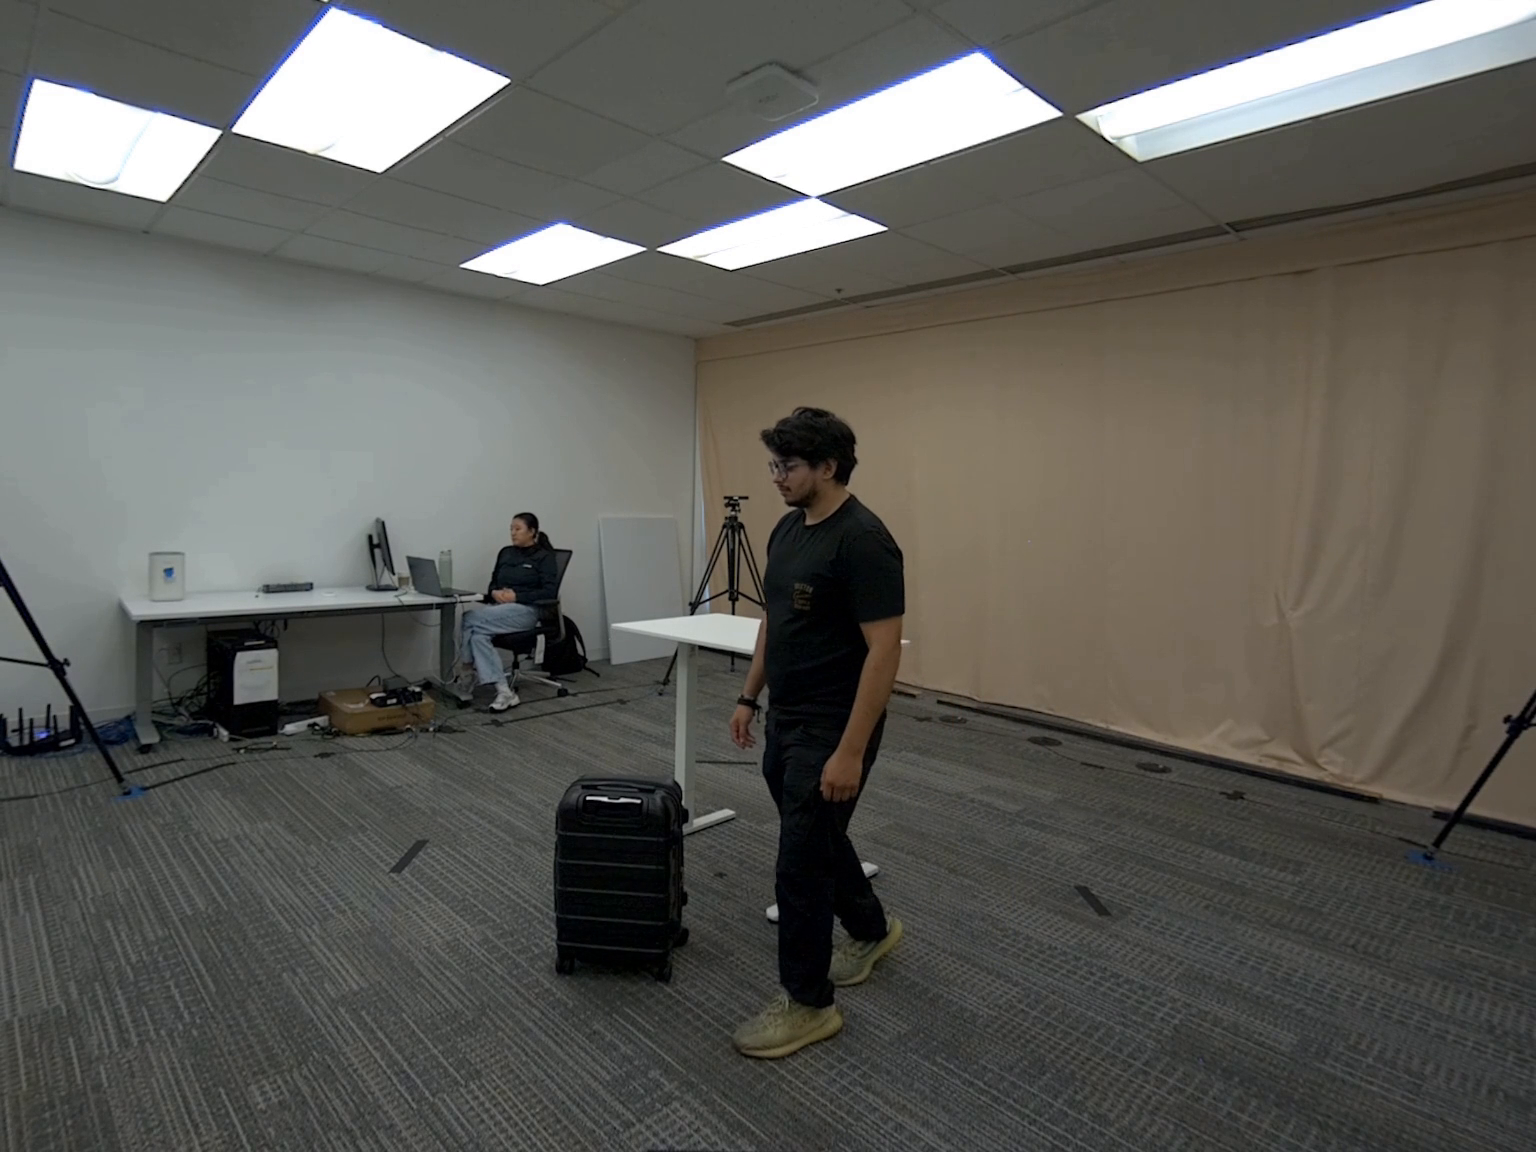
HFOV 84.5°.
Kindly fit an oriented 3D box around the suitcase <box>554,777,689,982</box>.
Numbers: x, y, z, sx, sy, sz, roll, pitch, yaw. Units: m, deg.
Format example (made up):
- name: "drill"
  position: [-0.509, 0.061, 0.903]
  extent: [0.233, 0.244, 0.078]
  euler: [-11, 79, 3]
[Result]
- name: "suitcase"
  position: [-0.445, 0.881, 2.501]
  extent: [0.377, 0.547, 0.248]
  euler: [1, 5, 6]
